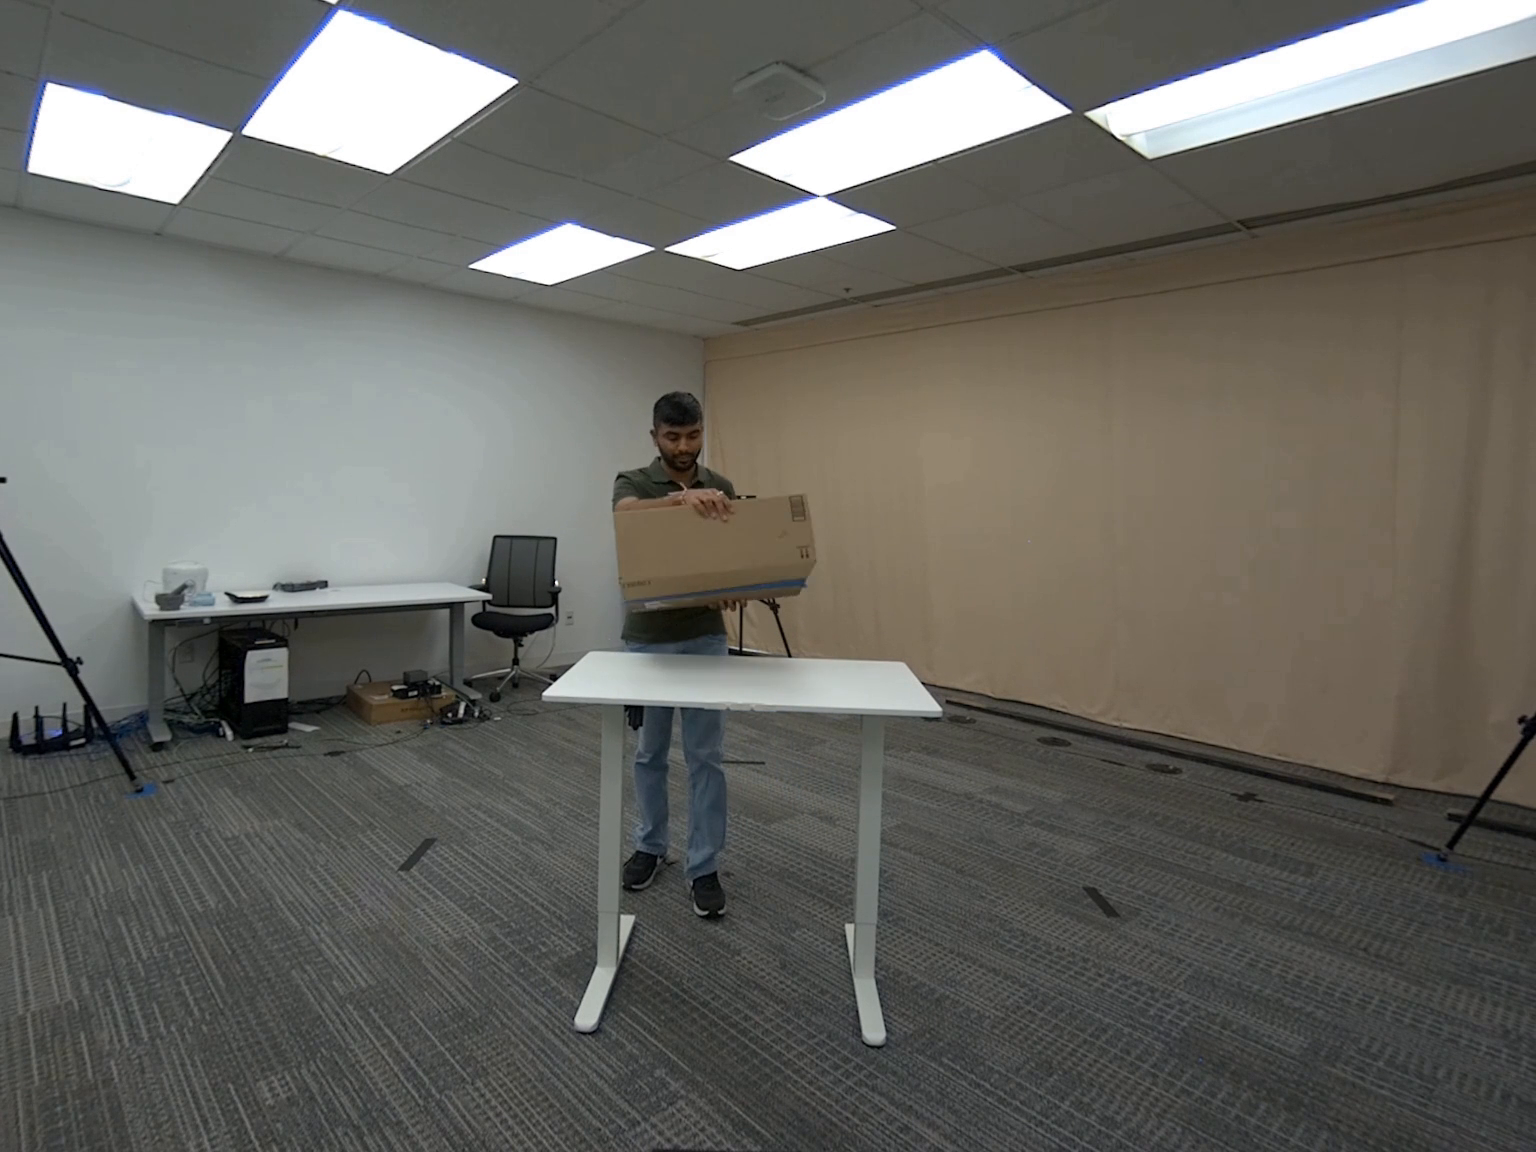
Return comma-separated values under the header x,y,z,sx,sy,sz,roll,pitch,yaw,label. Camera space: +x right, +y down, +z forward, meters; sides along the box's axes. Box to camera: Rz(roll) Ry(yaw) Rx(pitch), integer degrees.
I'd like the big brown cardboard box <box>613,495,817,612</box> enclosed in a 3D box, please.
x,y,z,sx,sy,sz,roll,pitch,yaw,label
-0.177,-0.064,2.606,0.588,0.236,0.413,-6,-14,-3,big brown cardboard box
